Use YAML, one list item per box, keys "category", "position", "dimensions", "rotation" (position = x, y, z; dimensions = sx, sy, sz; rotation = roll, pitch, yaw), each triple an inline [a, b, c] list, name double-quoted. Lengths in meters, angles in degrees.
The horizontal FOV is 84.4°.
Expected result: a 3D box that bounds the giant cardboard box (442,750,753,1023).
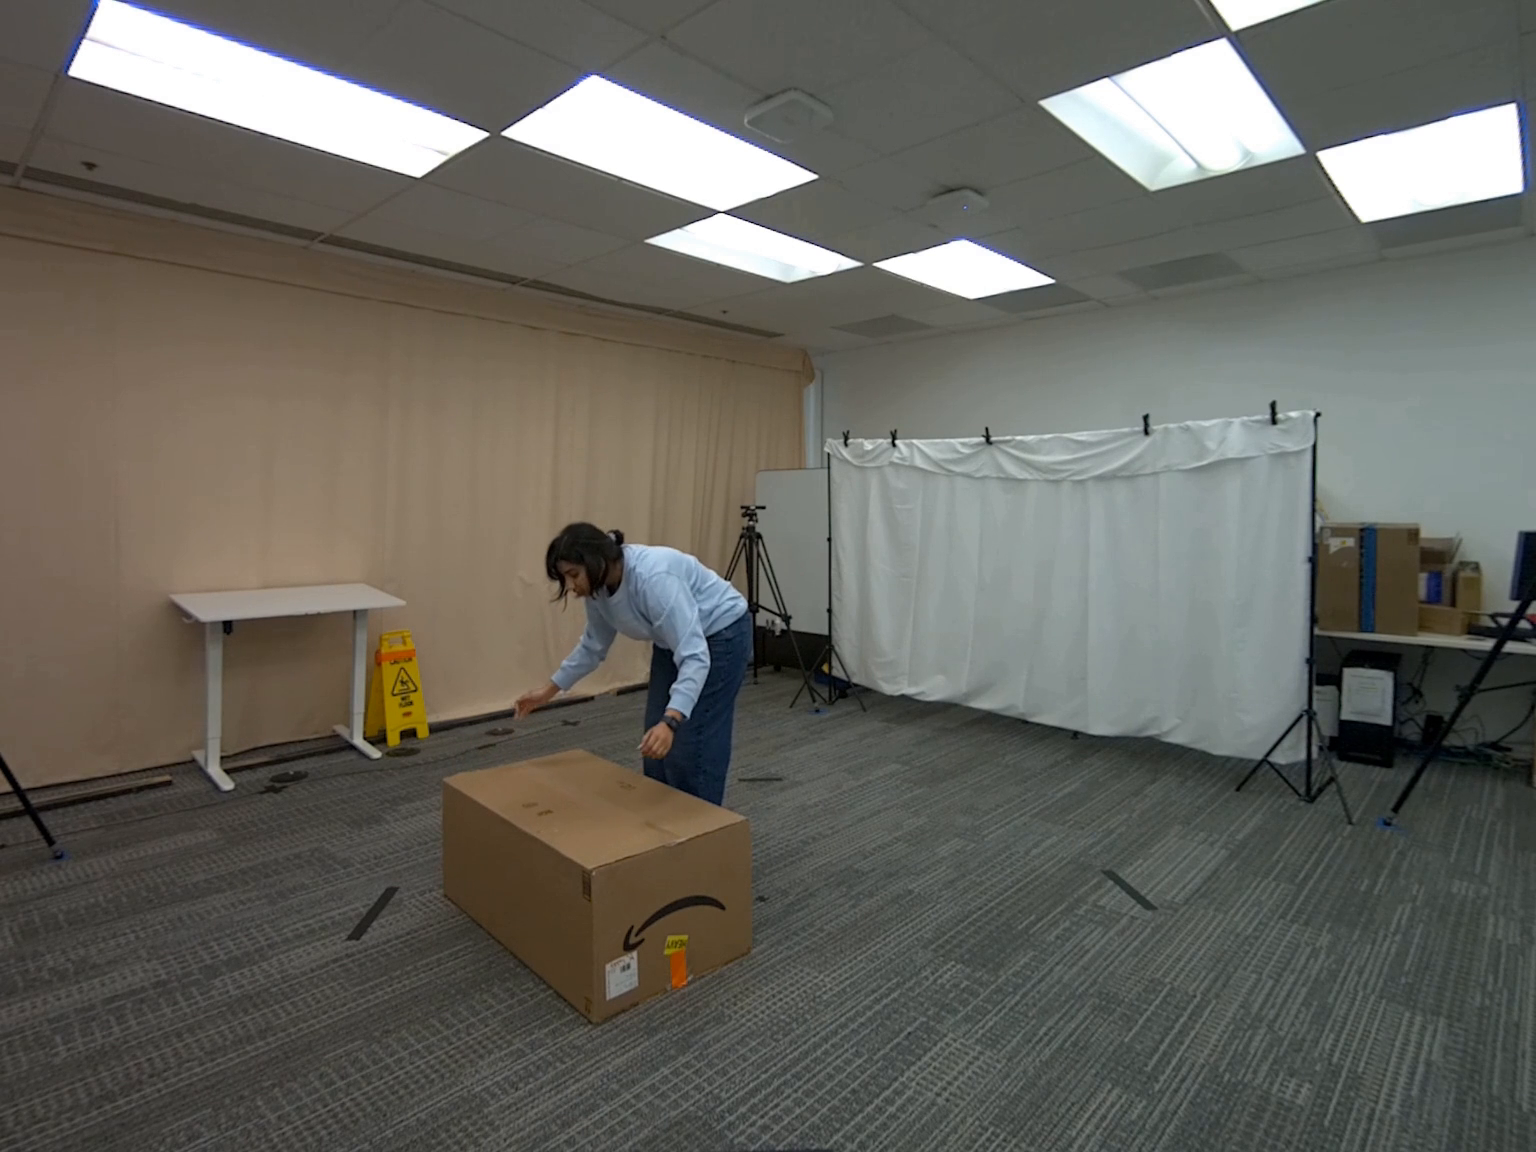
- category: "giant cardboard box"
  position: [-0.610, 0.949, 2.817]
  dimensions: [0.560, 0.425, 1.060]
  rotation: [-4, 6, -41]
